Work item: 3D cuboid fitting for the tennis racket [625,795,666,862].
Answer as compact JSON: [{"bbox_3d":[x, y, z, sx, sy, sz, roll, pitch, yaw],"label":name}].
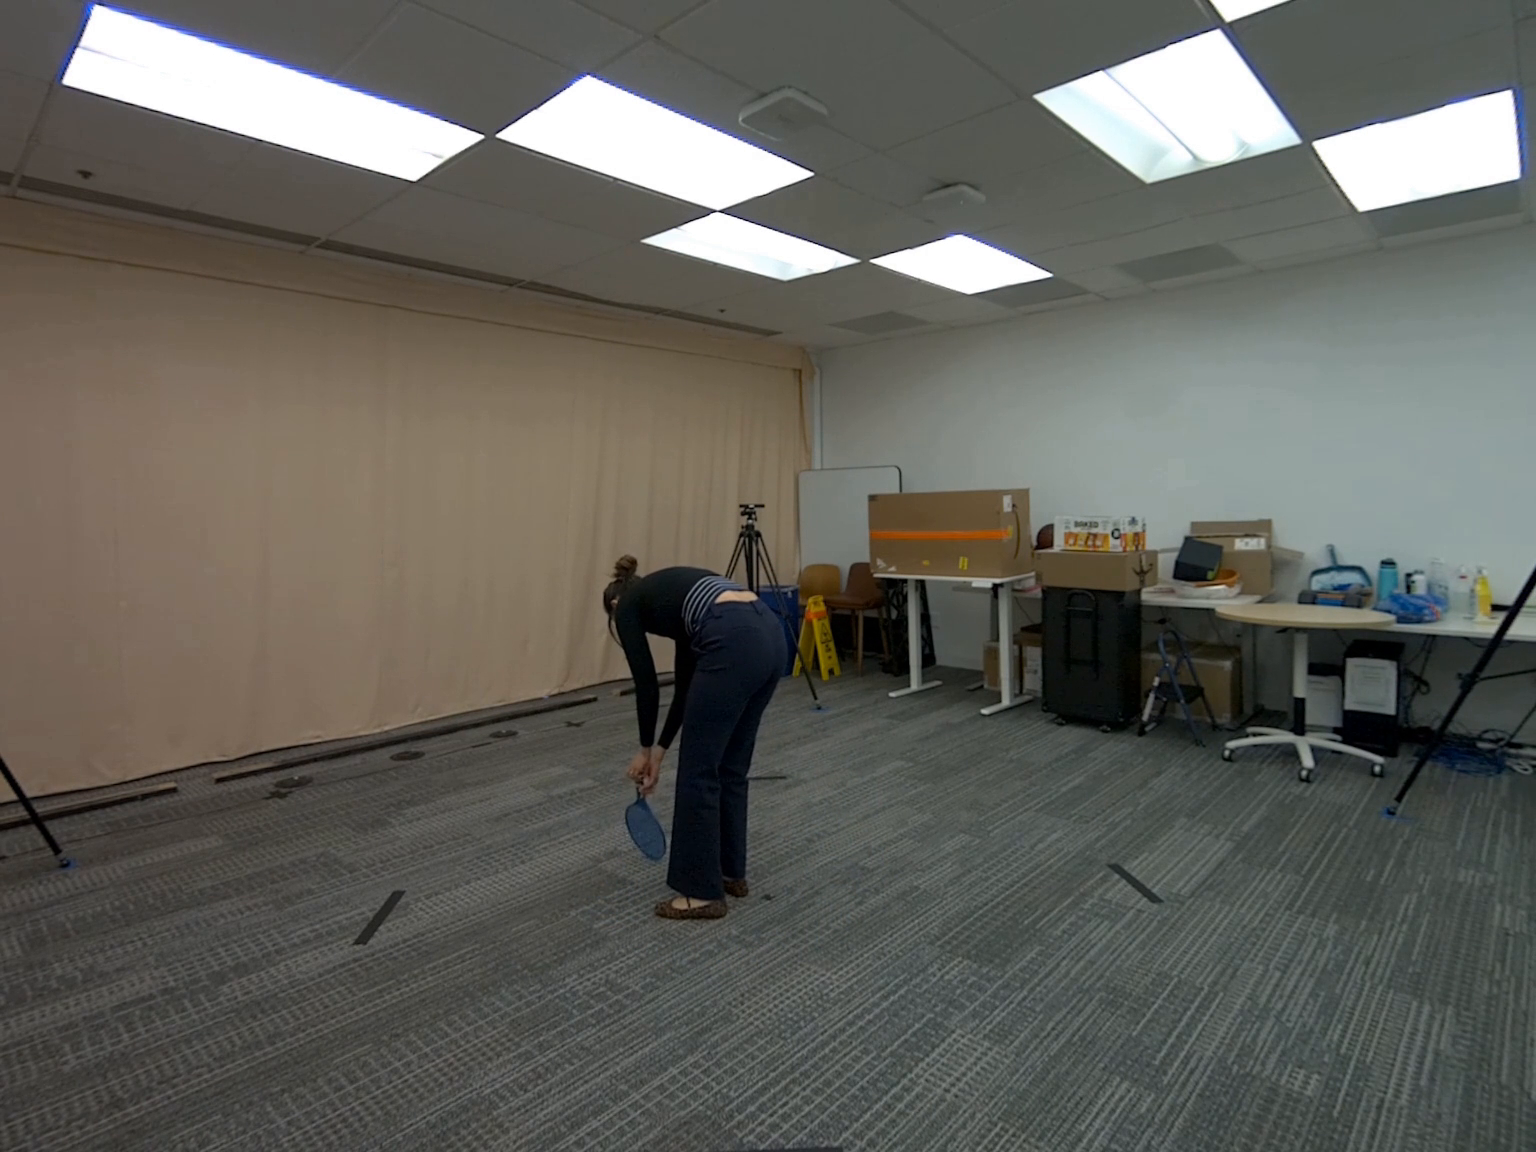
[{"bbox_3d":[-0.489,0.925,3.252,0.221,0.425,0.031,15,32,35],"label":"tennis racket"}]
